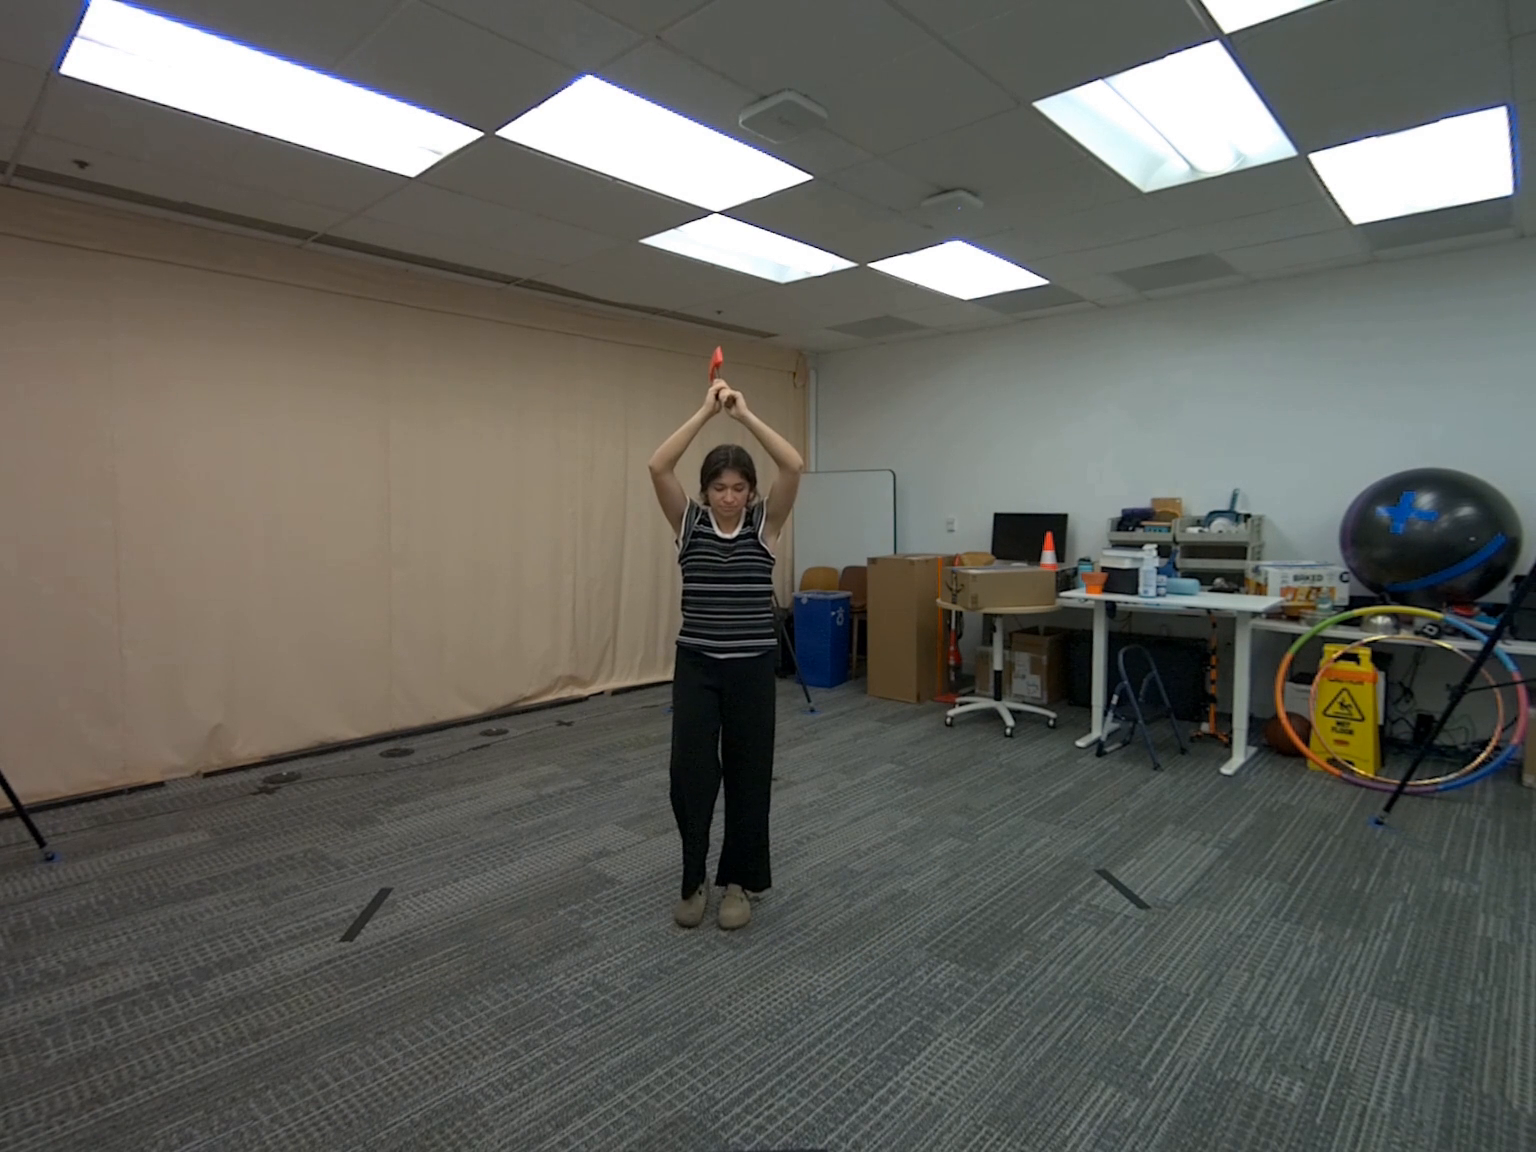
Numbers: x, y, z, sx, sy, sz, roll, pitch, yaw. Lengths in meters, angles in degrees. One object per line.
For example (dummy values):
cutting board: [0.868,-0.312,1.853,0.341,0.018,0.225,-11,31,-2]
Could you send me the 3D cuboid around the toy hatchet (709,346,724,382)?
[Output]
toy hatchet: [-0.147,-0.644,2.690,0.029,0.130,0.278,2,31,-19]
